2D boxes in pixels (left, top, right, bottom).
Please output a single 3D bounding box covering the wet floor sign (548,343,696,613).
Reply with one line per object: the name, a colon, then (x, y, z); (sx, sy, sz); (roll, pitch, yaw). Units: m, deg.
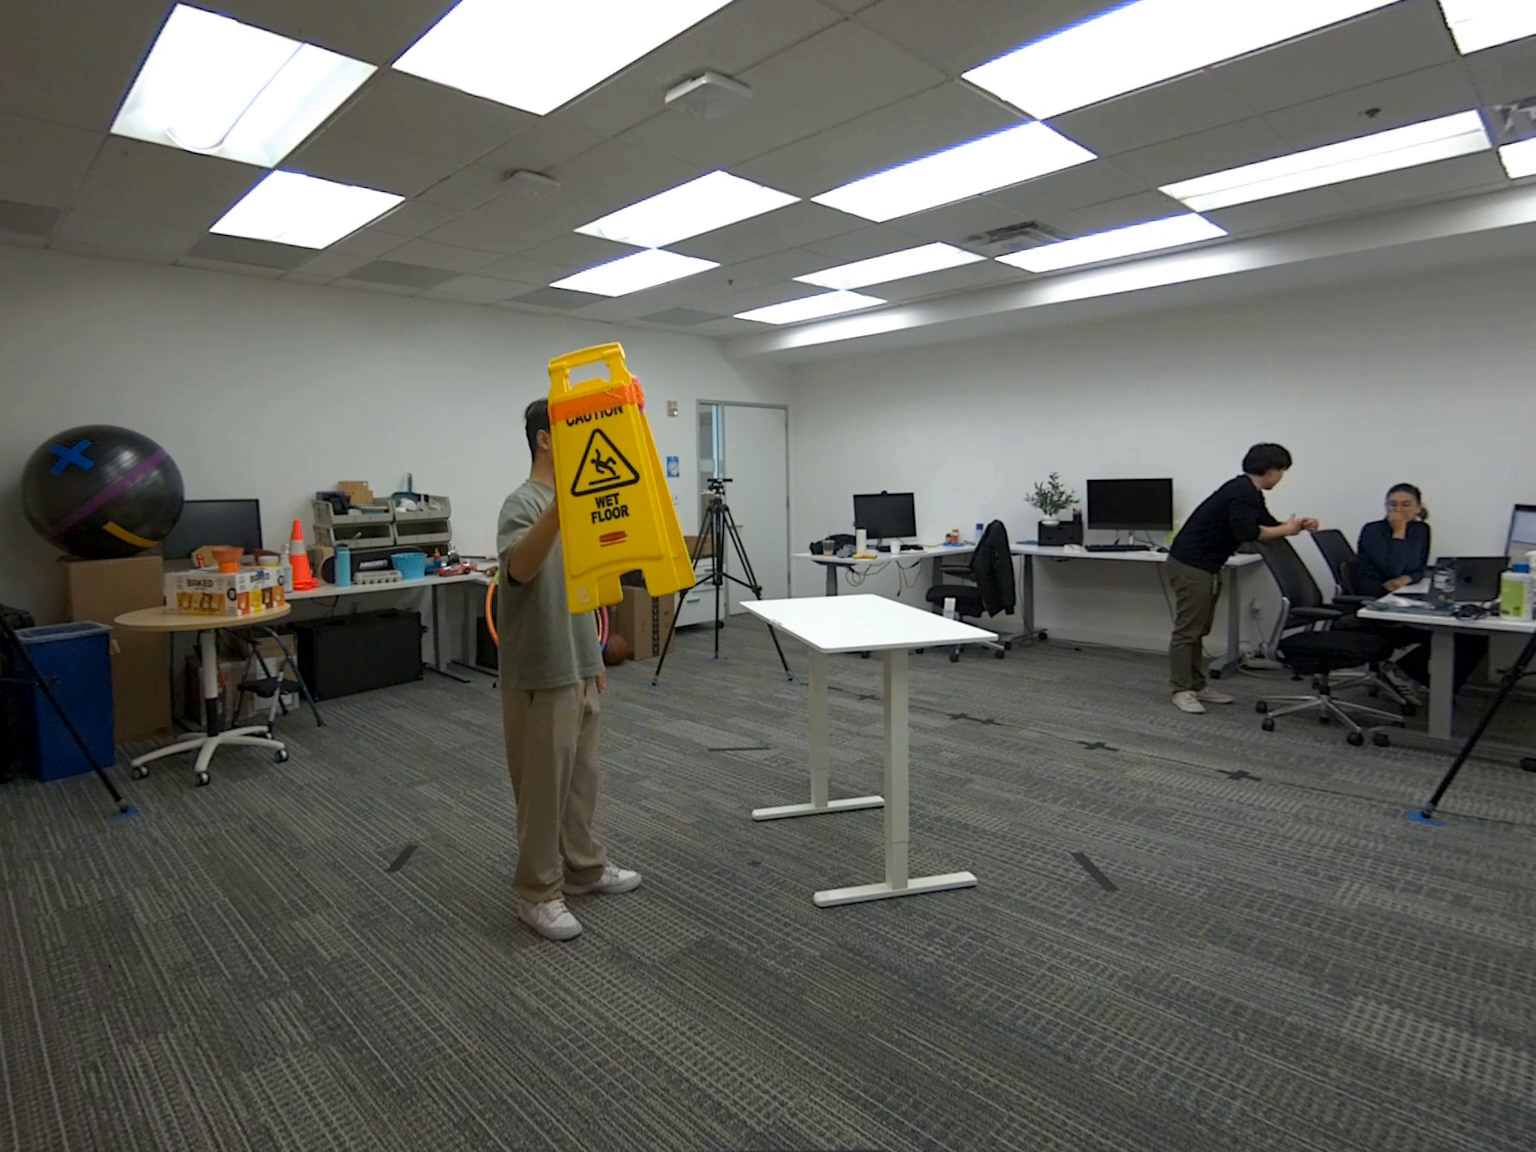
wet floor sign: (-0.401, -0.260, 2.167); (0.283, 0.648, 0.288); (-13, -2, 5)
